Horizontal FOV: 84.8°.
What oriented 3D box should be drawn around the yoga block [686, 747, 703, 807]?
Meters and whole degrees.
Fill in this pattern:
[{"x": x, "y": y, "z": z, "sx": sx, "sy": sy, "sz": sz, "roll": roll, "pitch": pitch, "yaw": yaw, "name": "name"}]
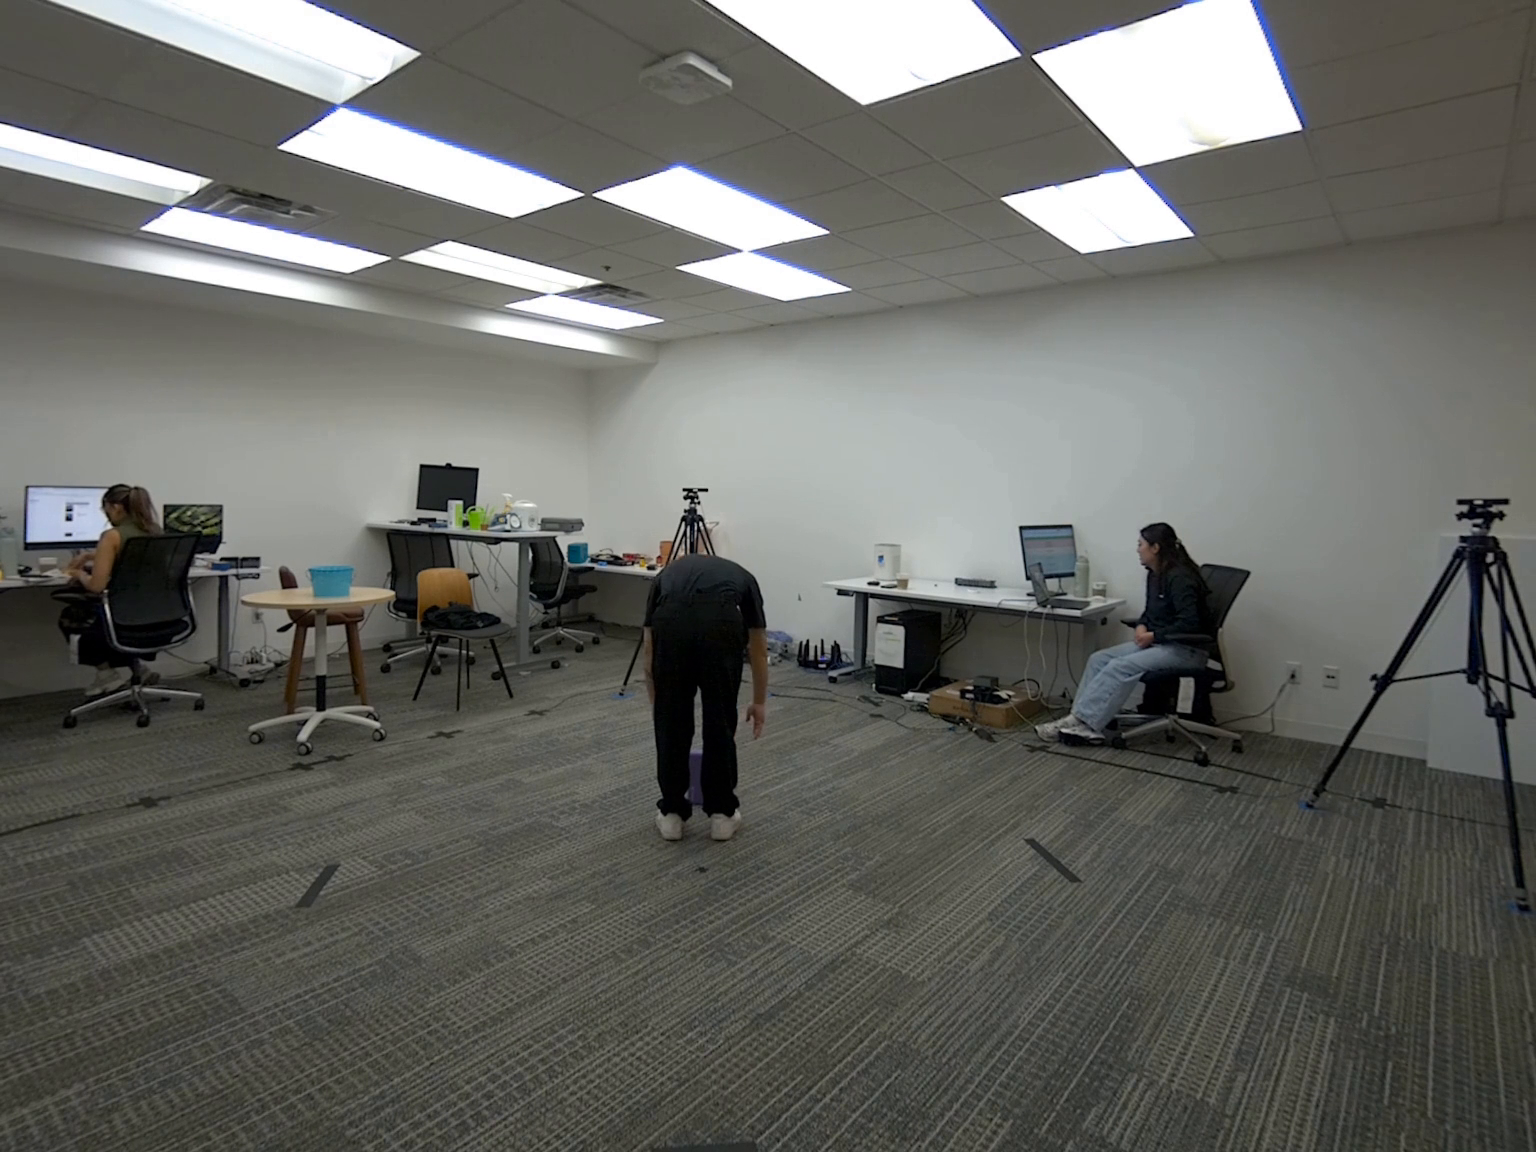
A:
[{"x": -0.287, "y": 0.885, "z": 3.761, "sx": 0.150, "sy": 0.229, "sz": 0.076, "roll": 2, "pitch": 2, "yaw": 5, "name": "yoga block"}]
